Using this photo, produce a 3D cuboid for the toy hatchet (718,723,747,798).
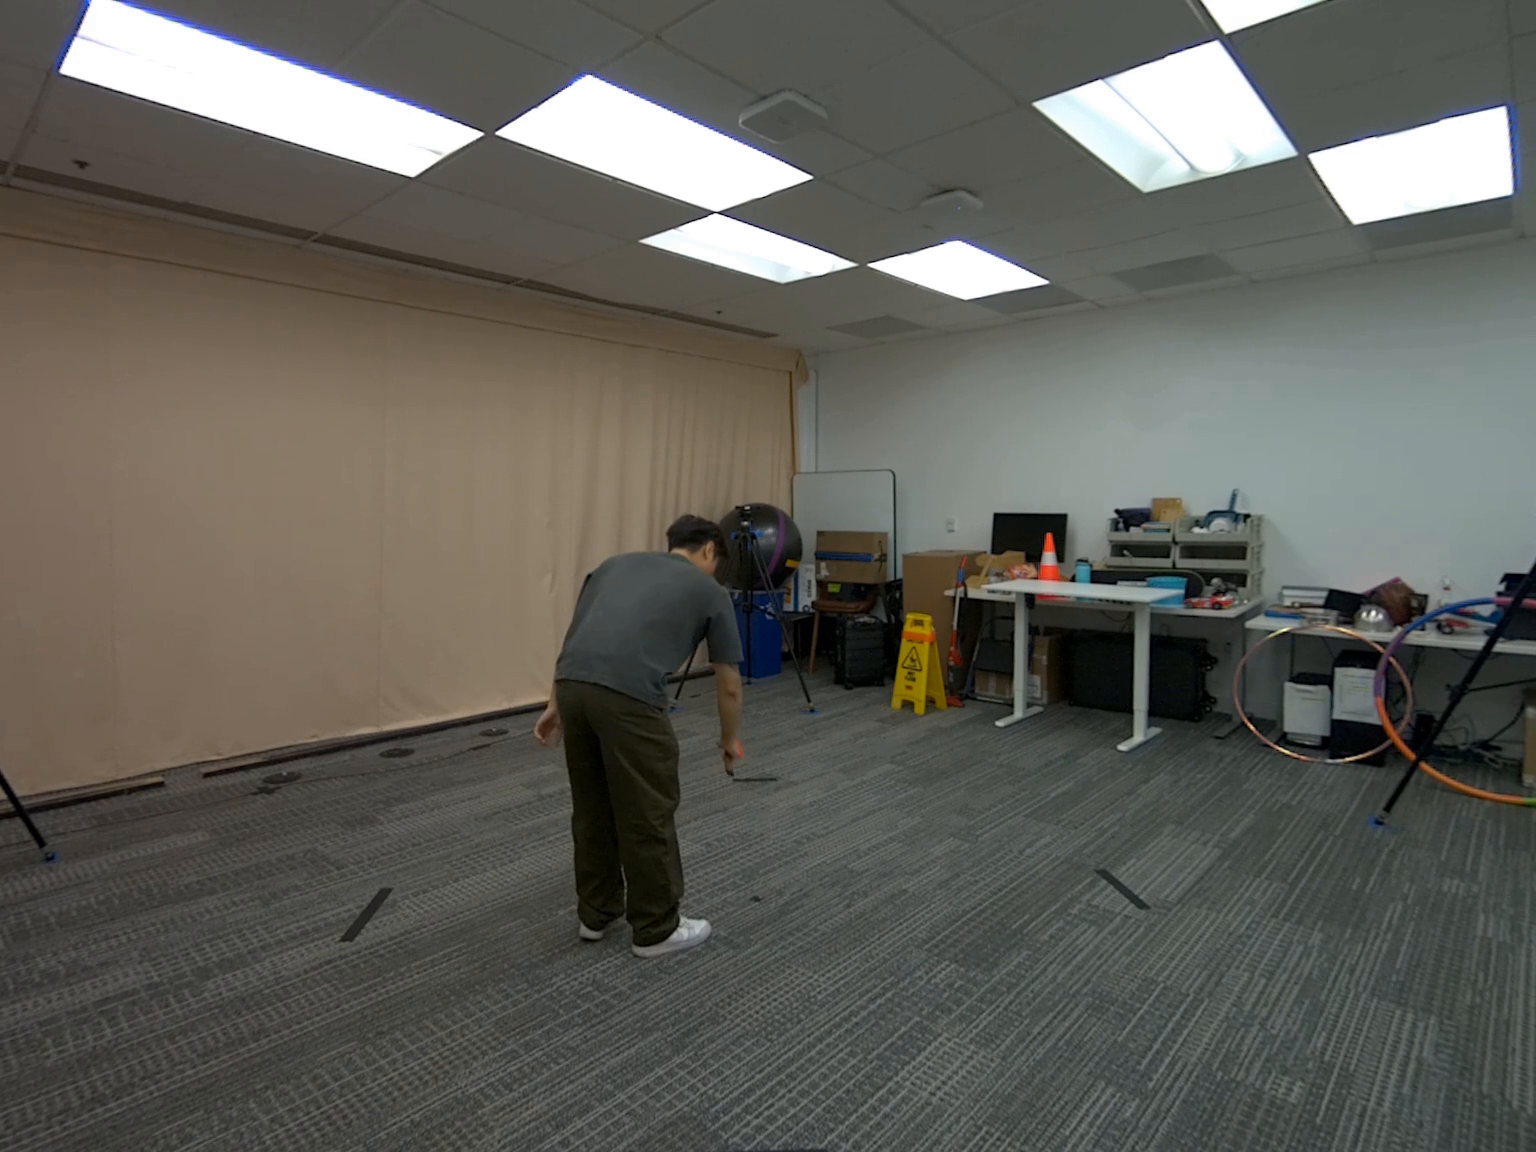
[{"bbox_3d":[-0.127,0.634,2.967,0.030,0.128,0.274,-31,21,10],"label":"toy hatchet"}]
